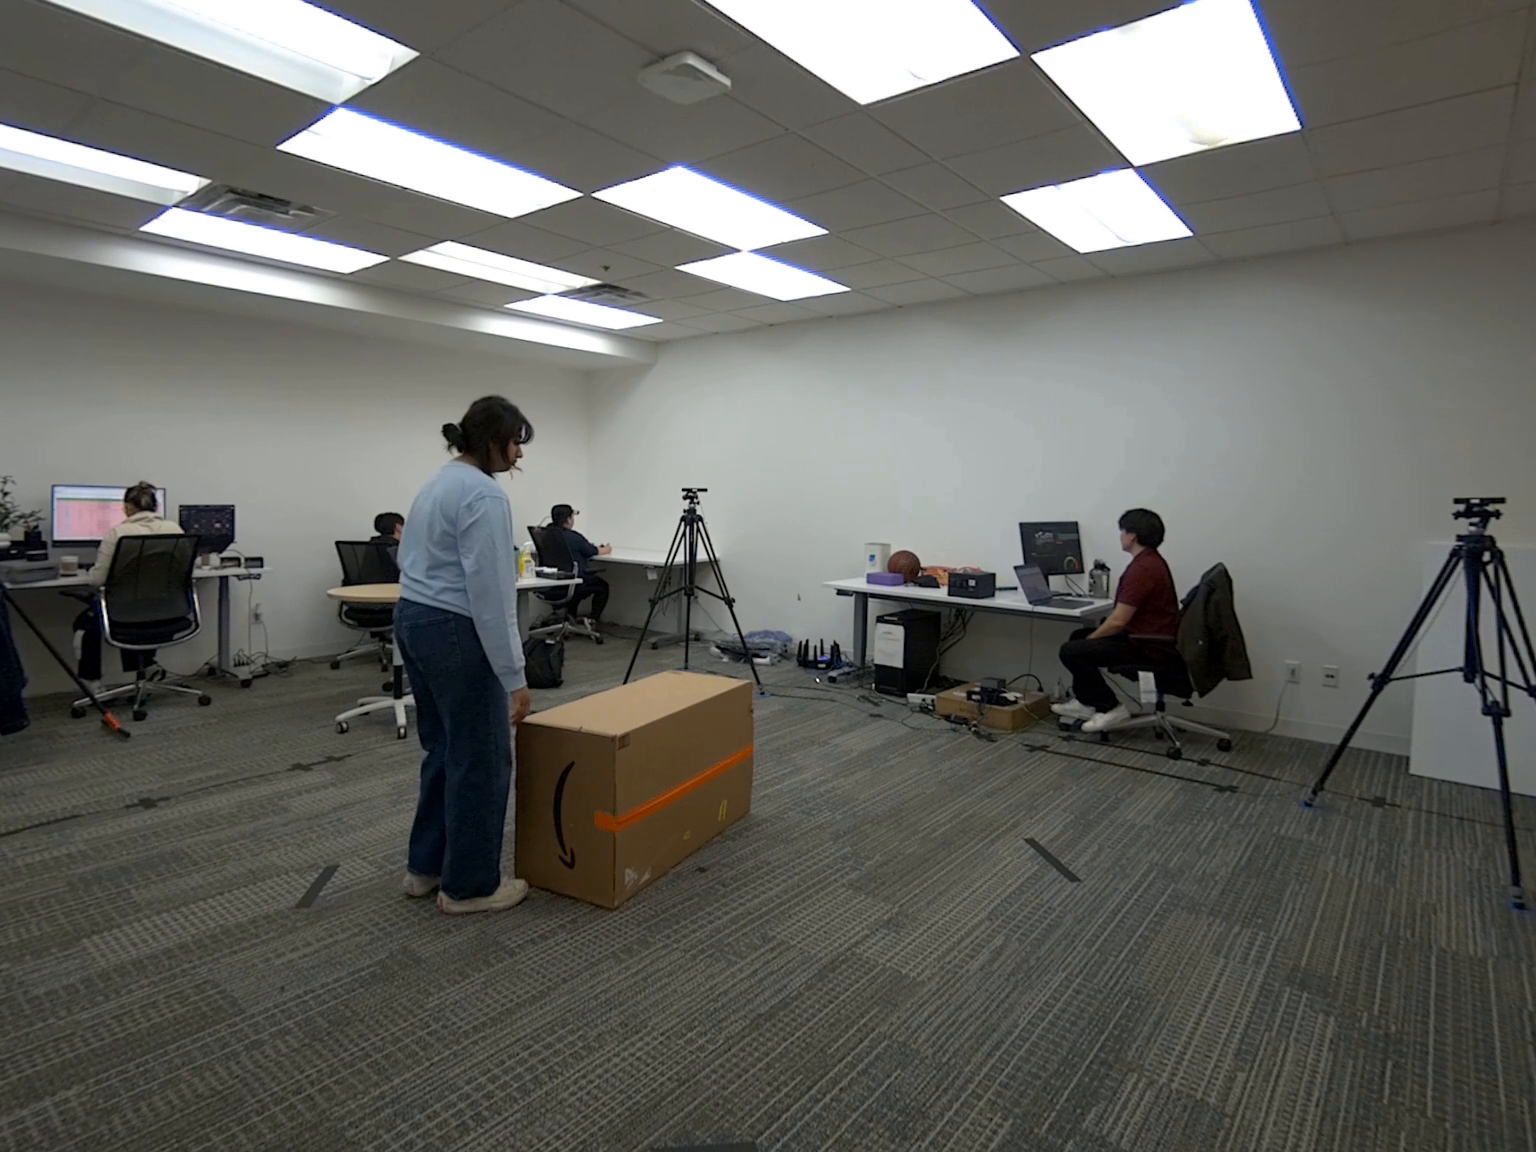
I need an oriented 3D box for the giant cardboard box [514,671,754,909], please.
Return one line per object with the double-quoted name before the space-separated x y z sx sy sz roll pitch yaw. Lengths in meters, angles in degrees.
"giant cardboard box" -0.480 0.760 3.318 0.459 0.582 1.003 2 5 26
